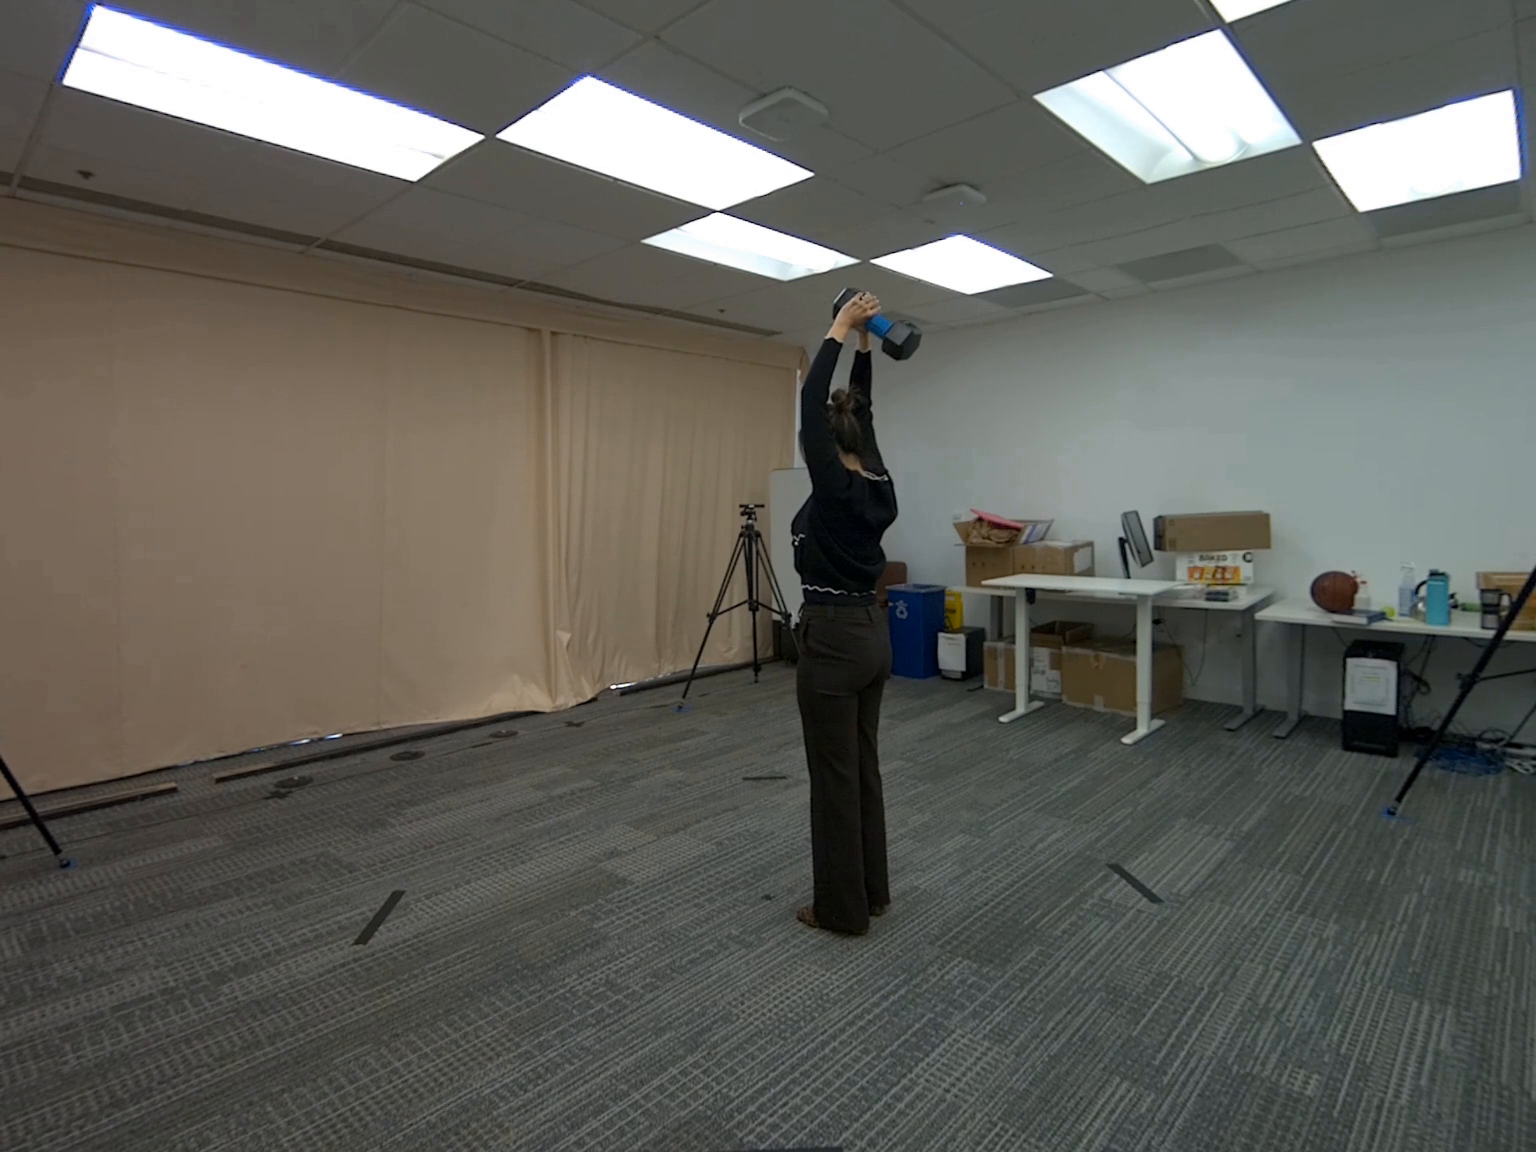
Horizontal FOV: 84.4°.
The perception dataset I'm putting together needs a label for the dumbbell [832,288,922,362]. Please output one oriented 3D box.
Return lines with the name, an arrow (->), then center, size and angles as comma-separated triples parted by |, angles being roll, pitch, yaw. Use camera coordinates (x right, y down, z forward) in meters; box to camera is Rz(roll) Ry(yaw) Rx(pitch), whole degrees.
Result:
dumbbell -> 0.347, -0.797, 2.662 | 0.302, 0.123, 0.105 | 41, 5, 26
